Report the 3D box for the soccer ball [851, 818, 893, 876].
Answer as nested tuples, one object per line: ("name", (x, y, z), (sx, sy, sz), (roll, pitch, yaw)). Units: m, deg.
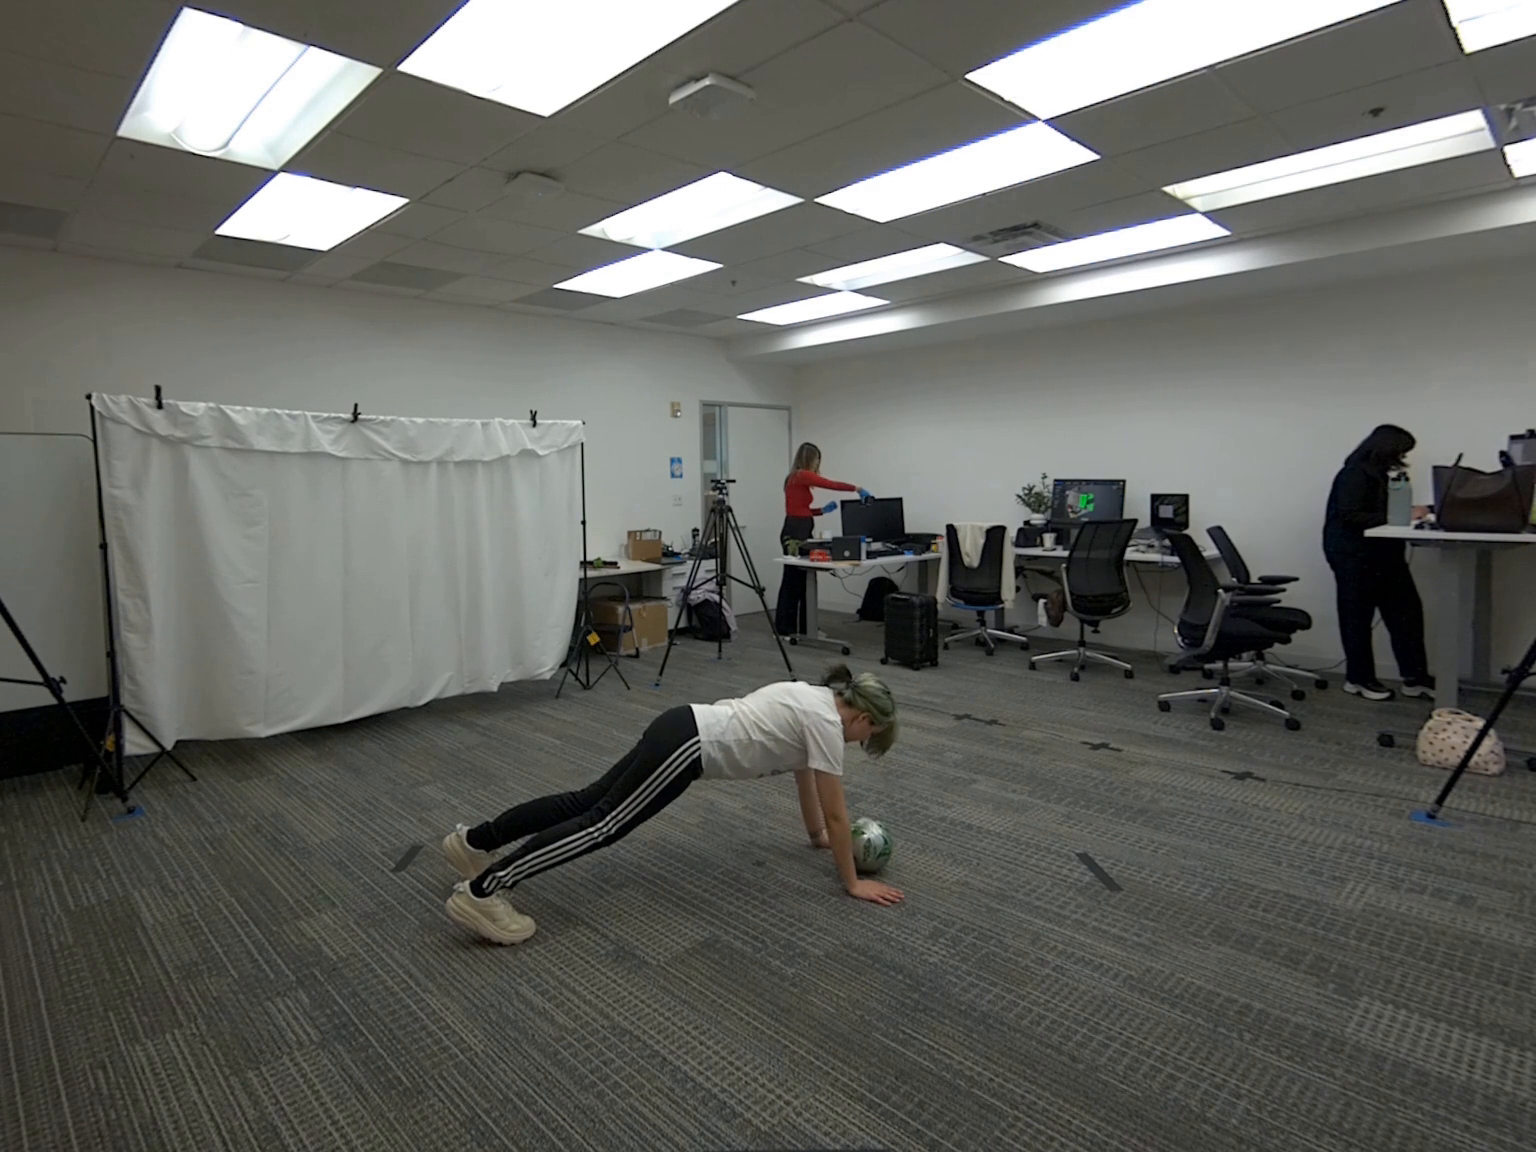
("soccer ball", (0.353, 0.954, 3.038), (0.187, 0.187, 0.188), (-1, 5, -2))
